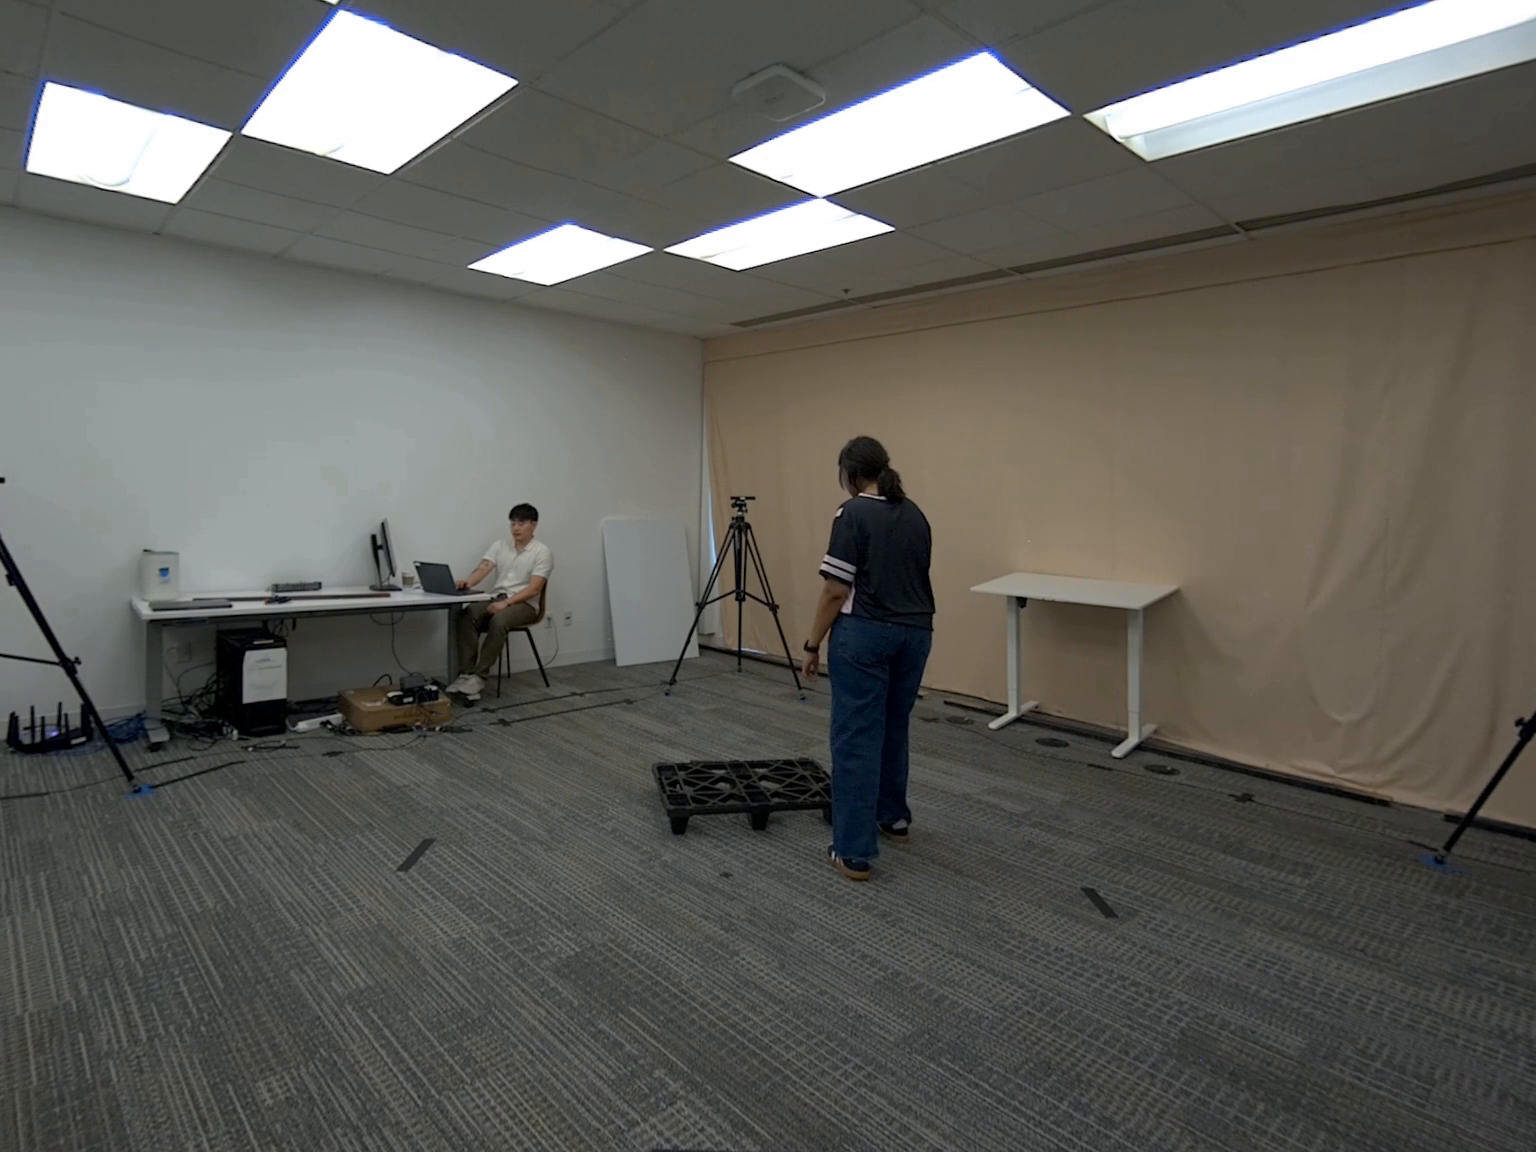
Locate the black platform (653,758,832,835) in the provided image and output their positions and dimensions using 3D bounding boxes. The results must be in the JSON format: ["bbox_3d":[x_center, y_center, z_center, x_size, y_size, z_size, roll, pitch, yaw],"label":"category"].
[{"bbox_3d":[-0.094,0.981,3.767,0.798,0.143,0.613,0,5,-13],"label":"black platform"}]
